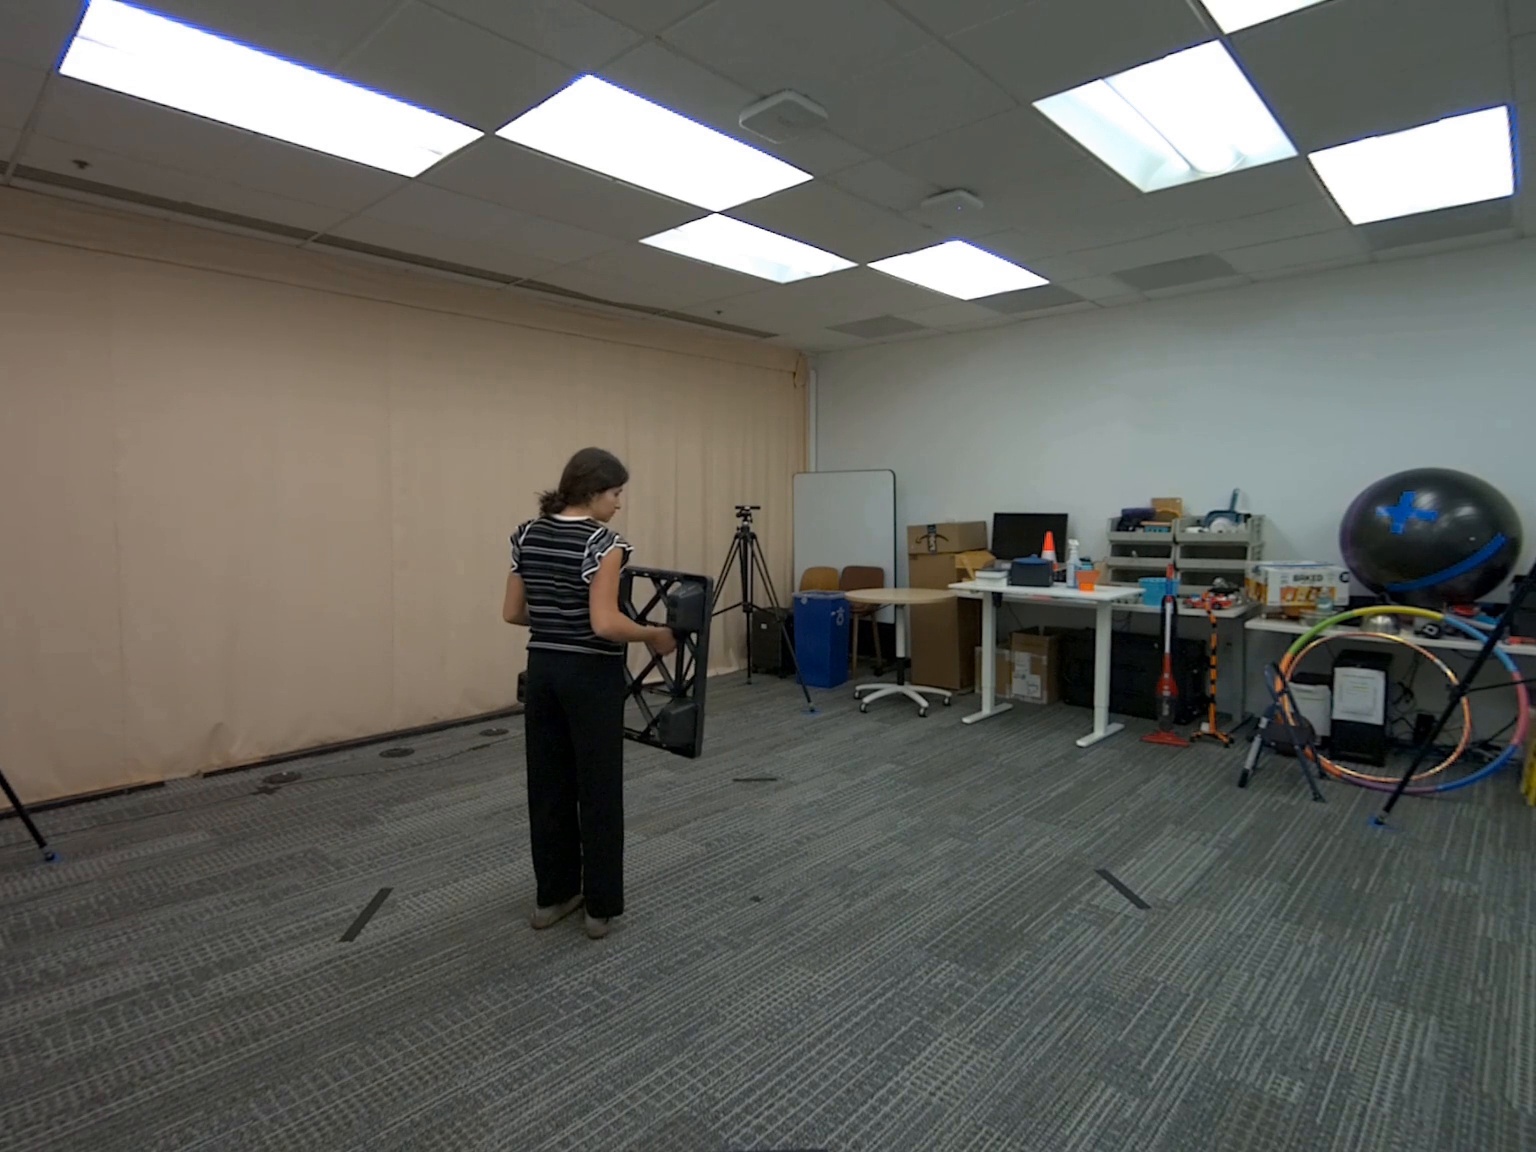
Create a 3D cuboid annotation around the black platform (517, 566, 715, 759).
[{"bbox_3d":[-0.562,0.263,2.917,0.831,0.604,0.139,7,5,34],"label":"black platform"}]
